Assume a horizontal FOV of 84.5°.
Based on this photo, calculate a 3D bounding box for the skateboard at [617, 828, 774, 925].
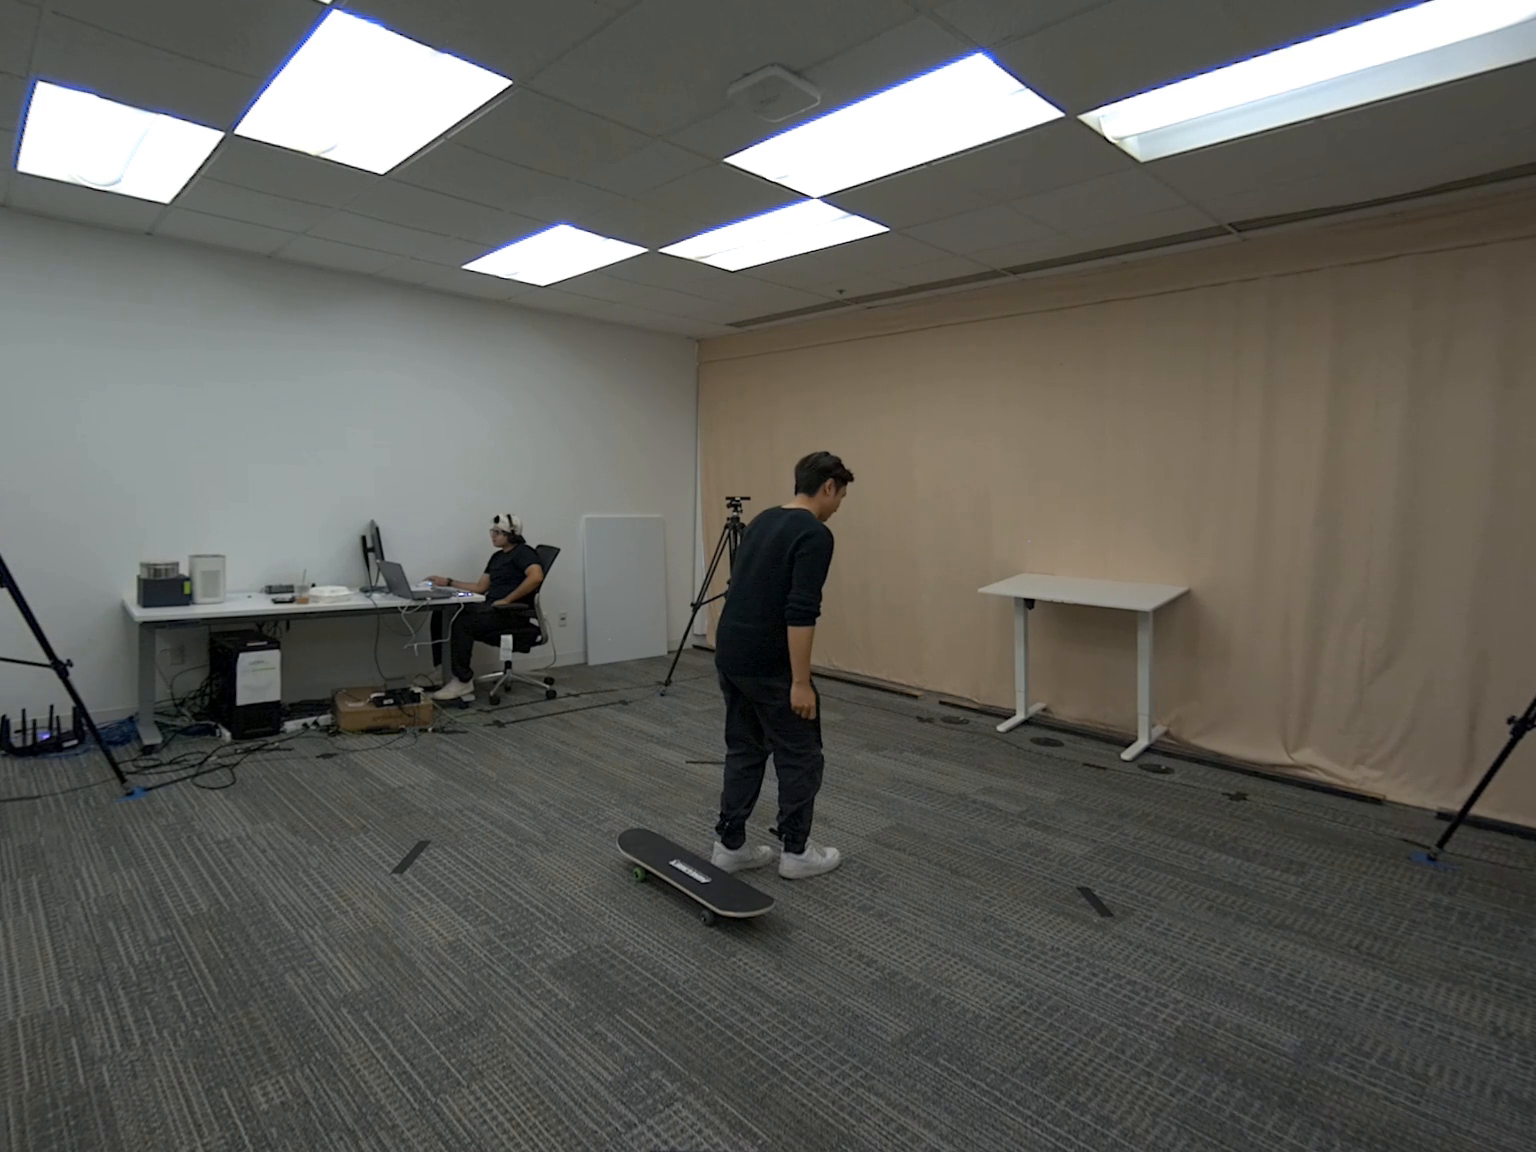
[{"bbox_3d":[-0.282,1.061,2.946,0.189,0.110,0.806,-3,7,-41],"label":"skateboard"}]
